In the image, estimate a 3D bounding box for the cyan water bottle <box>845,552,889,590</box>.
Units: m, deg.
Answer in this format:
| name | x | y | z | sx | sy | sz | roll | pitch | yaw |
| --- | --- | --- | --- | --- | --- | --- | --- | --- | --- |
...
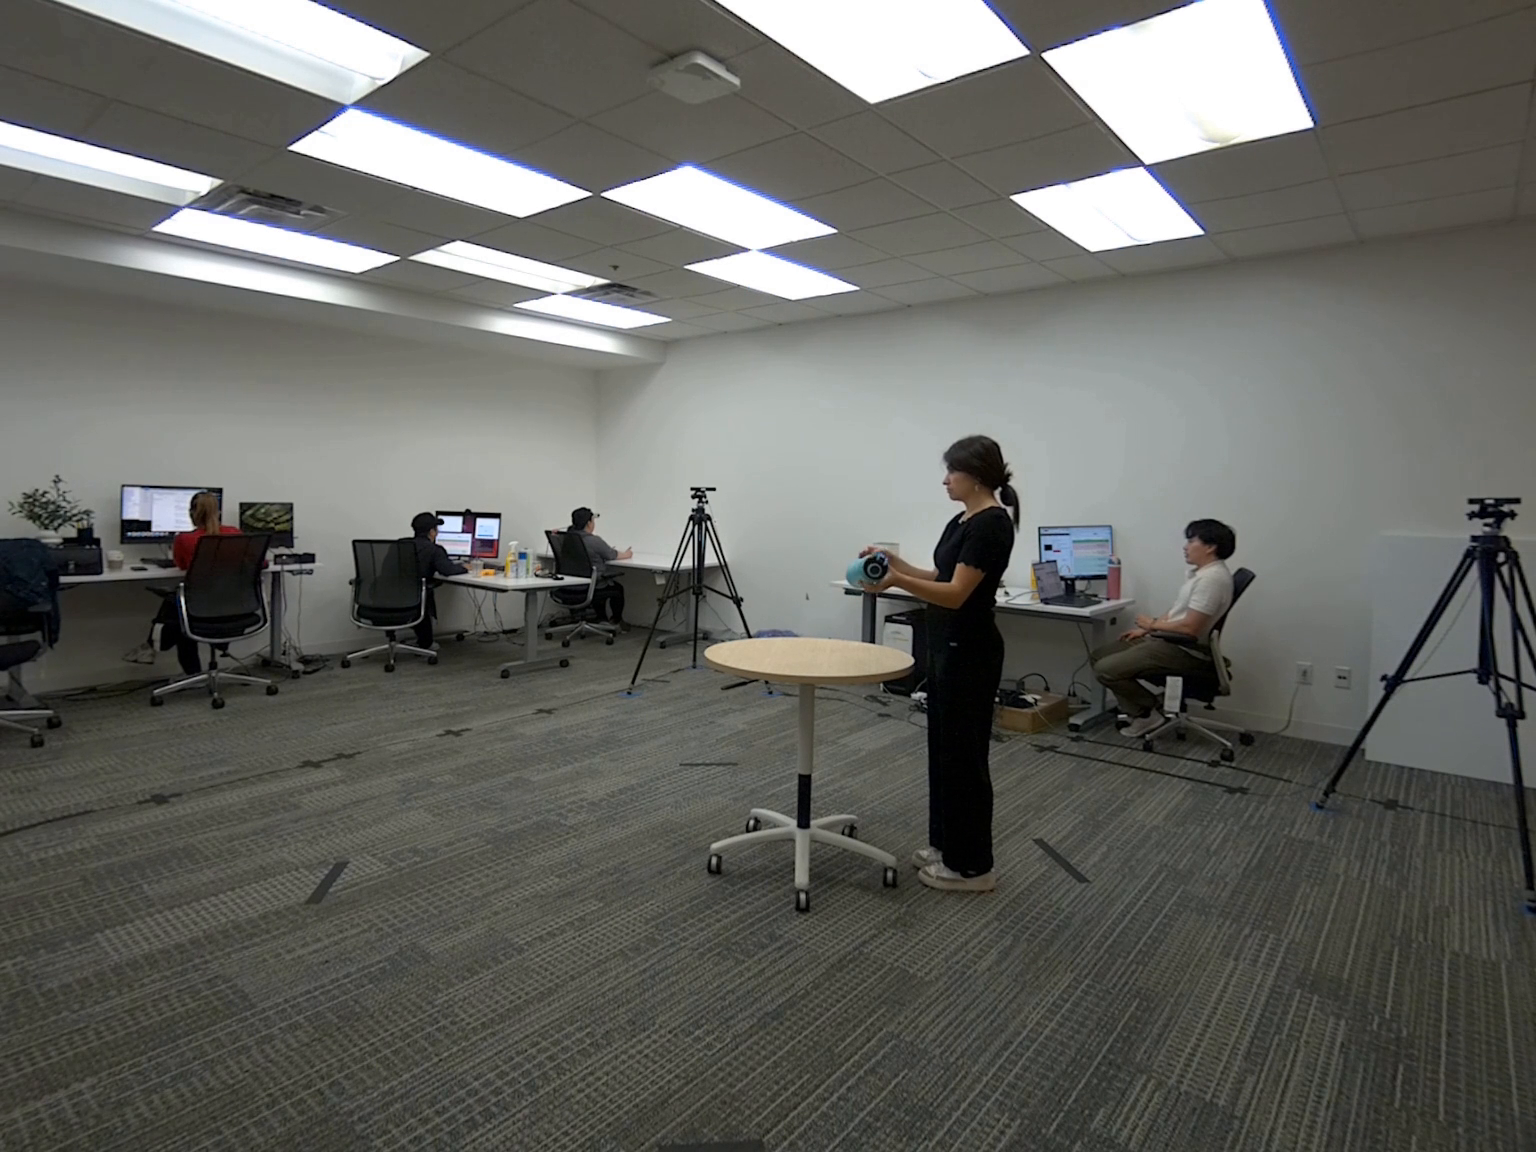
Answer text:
| name | x | y | z | sx | sy | sz | roll | pitch | yaw |
| --- | --- | --- | --- | --- | --- | --- | --- | --- | --- |
| cyan water bottle | 0.317 | -0.018 | 2.779 | 0.092 | 0.093 | 0.282 | 1 | -6 | -5 |
